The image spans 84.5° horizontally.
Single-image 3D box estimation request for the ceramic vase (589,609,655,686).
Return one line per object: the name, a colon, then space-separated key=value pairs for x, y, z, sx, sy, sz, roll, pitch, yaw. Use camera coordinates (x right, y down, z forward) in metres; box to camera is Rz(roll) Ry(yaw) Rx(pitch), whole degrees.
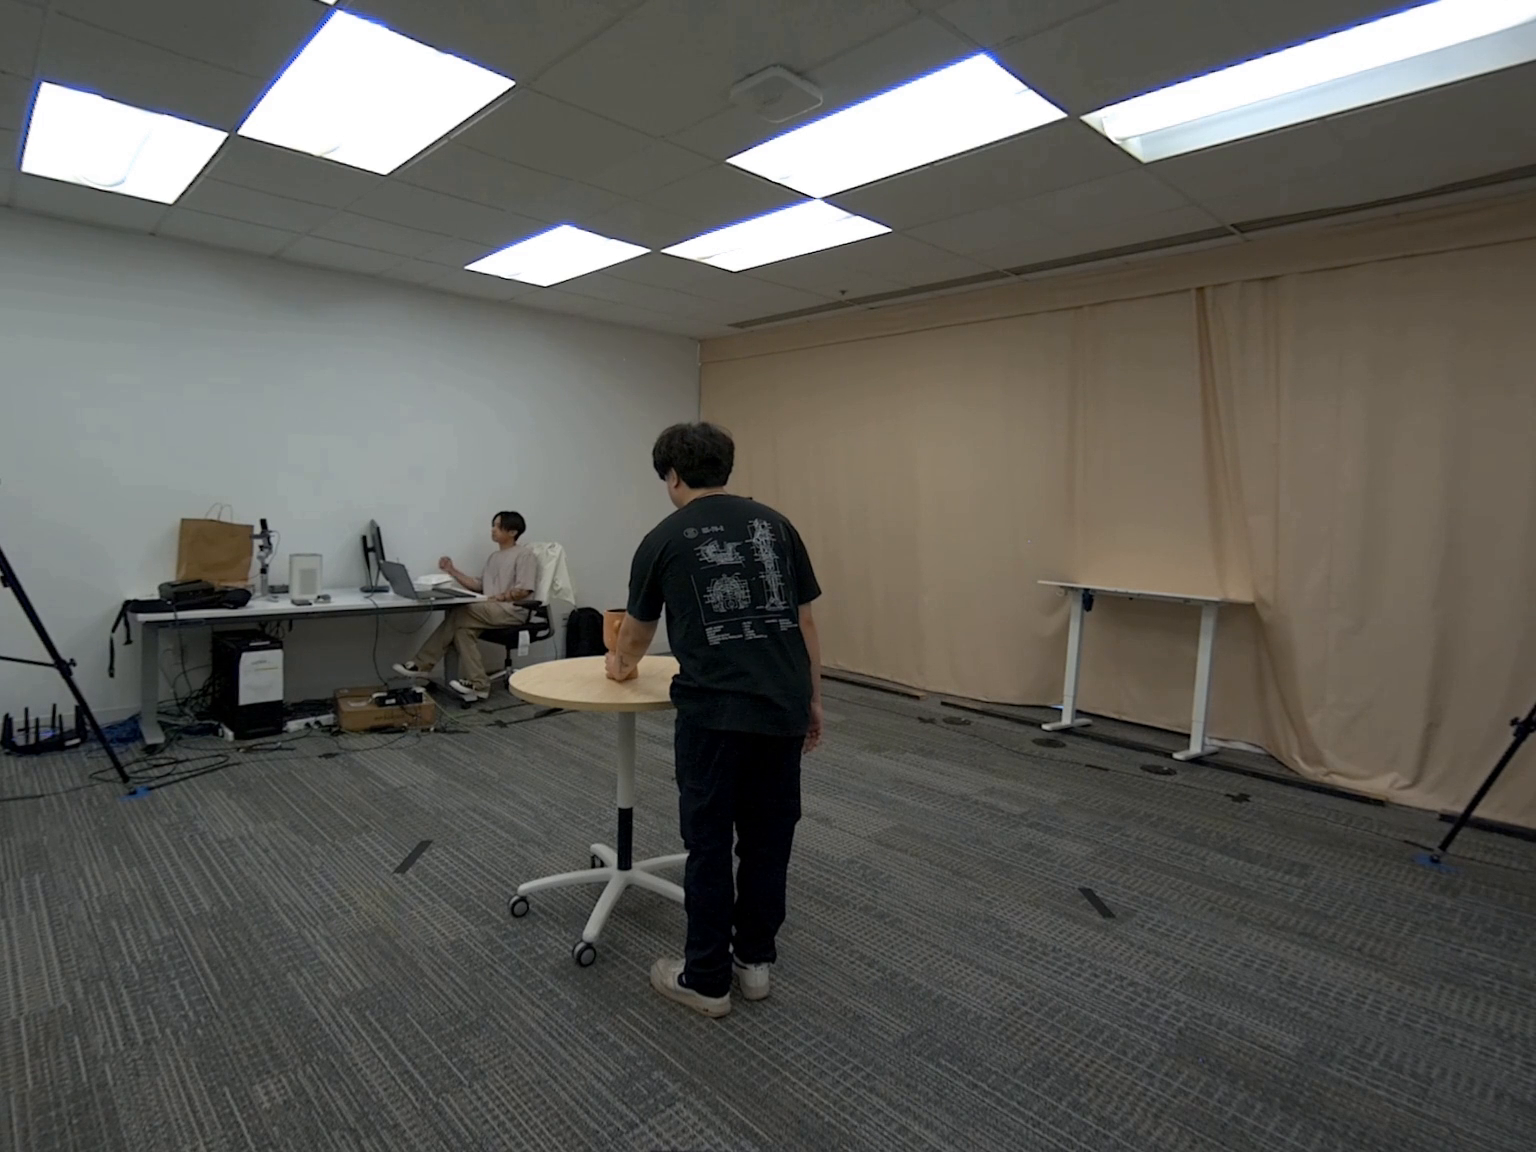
ceramic vase: x=-0.479 y=0.229 z=2.779 sx=0.138 sy=0.219 sz=0.155 roll=5 pitch=4 yaw=45
